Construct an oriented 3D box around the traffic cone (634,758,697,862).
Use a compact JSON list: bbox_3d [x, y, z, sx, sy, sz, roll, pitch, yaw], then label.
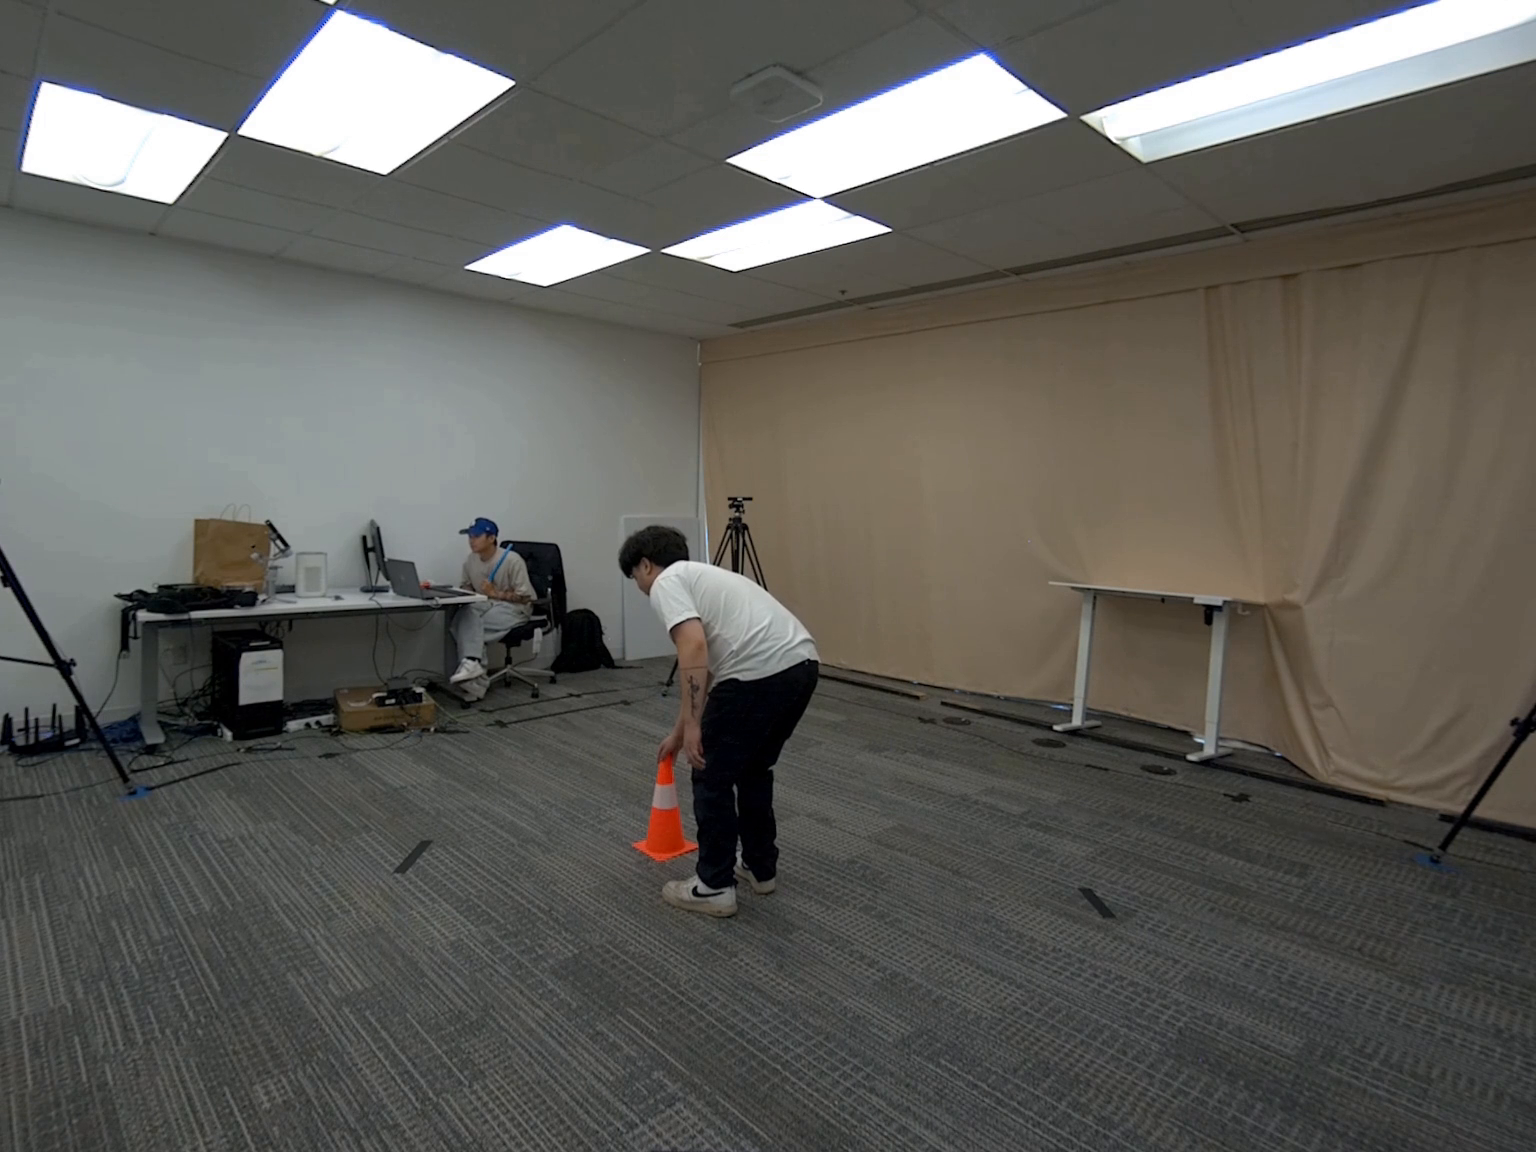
[{"bbox_3d":[-0.414,0.889,3.347,0.200,0.383,0.208,-1,4,-39],"label":"traffic cone"}]
